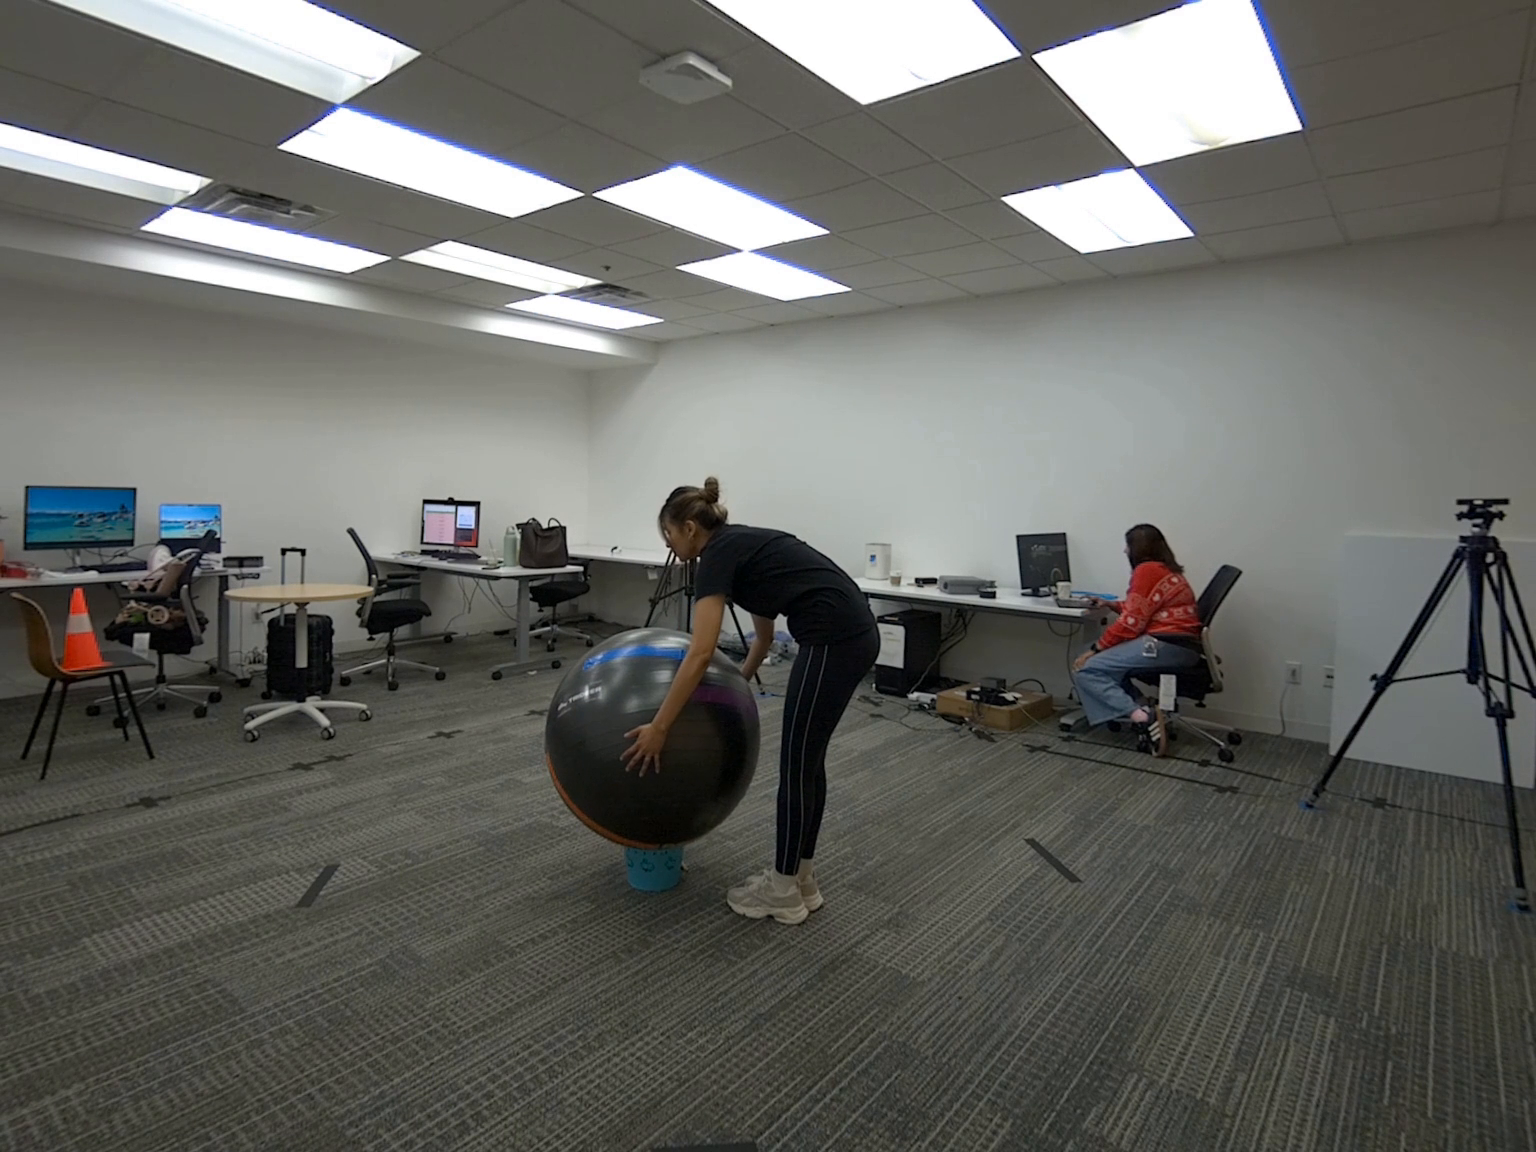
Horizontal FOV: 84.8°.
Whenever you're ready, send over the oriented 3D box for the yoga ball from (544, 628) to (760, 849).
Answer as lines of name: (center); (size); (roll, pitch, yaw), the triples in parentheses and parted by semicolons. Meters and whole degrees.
yoga ball: (-0.417, 0.570, 3.005); (0.757, 0.755, 0.762); (1, 4, -2)
